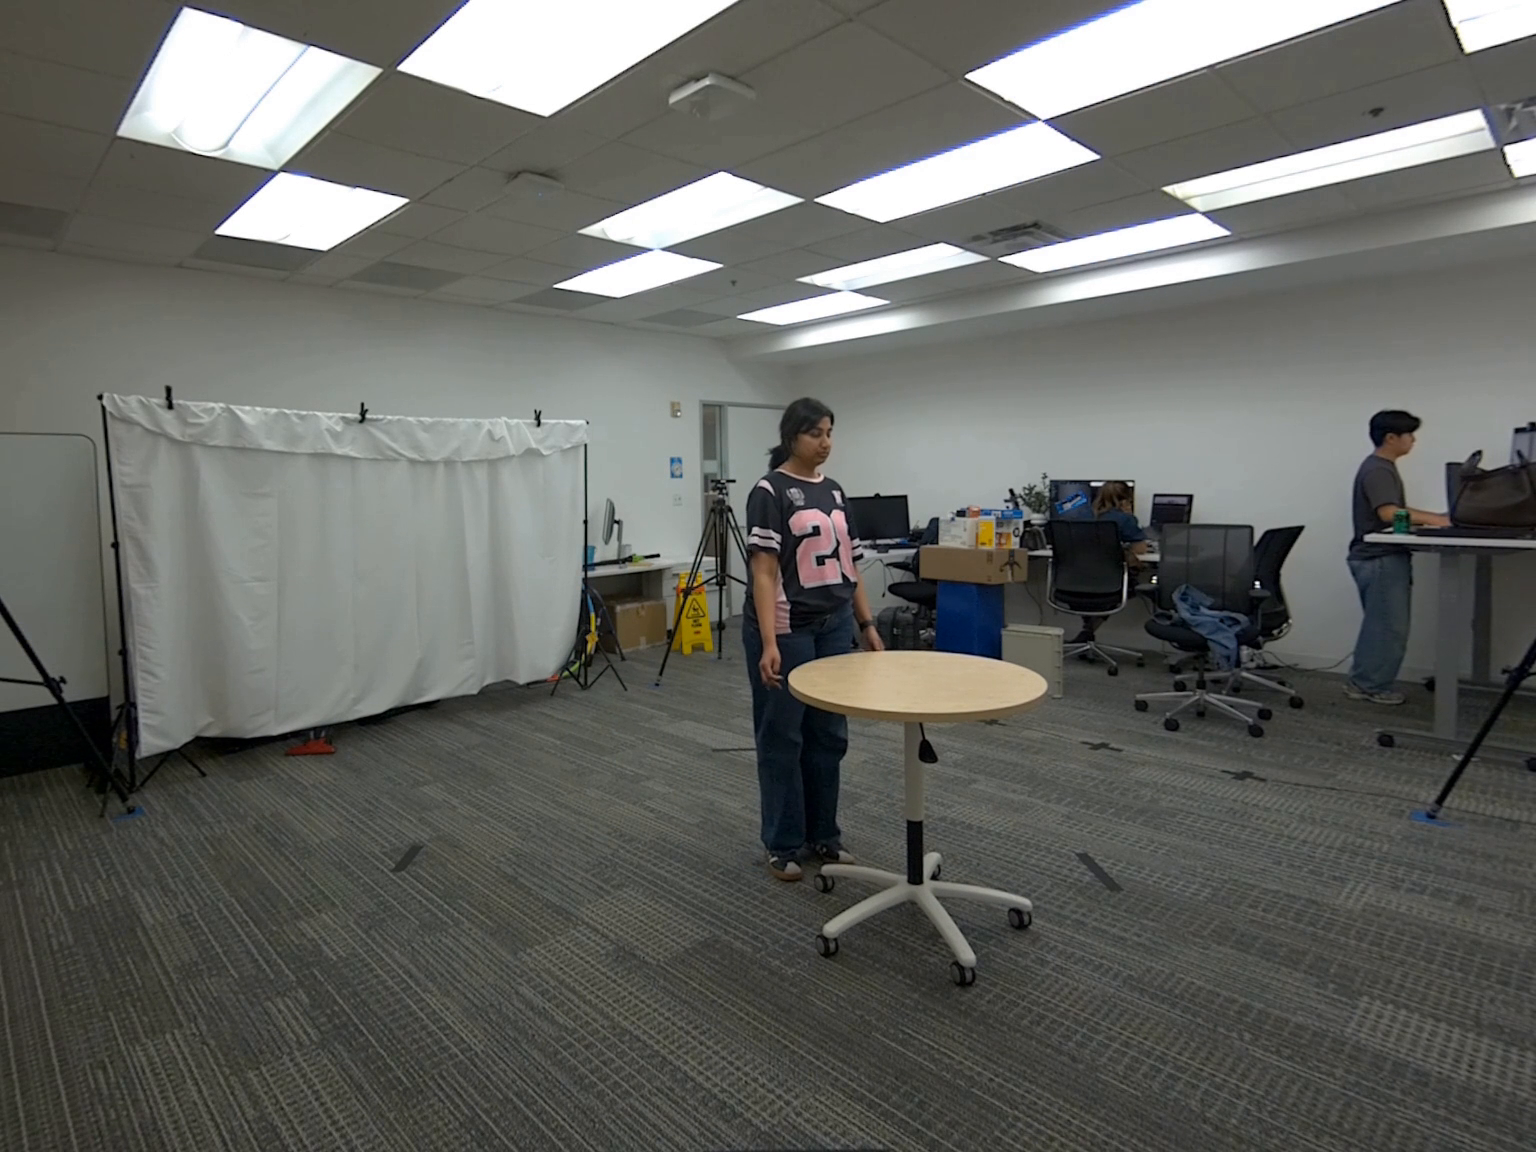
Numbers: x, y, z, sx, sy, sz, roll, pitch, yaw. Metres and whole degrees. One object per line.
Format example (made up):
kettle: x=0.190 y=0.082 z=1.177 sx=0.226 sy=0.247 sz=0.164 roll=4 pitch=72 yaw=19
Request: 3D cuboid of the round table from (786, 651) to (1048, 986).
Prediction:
round table: x=0.447 y=0.695 z=2.651 sx=0.784 sy=0.783 sz=0.789 roll=-1 pitch=5 yaw=-2
